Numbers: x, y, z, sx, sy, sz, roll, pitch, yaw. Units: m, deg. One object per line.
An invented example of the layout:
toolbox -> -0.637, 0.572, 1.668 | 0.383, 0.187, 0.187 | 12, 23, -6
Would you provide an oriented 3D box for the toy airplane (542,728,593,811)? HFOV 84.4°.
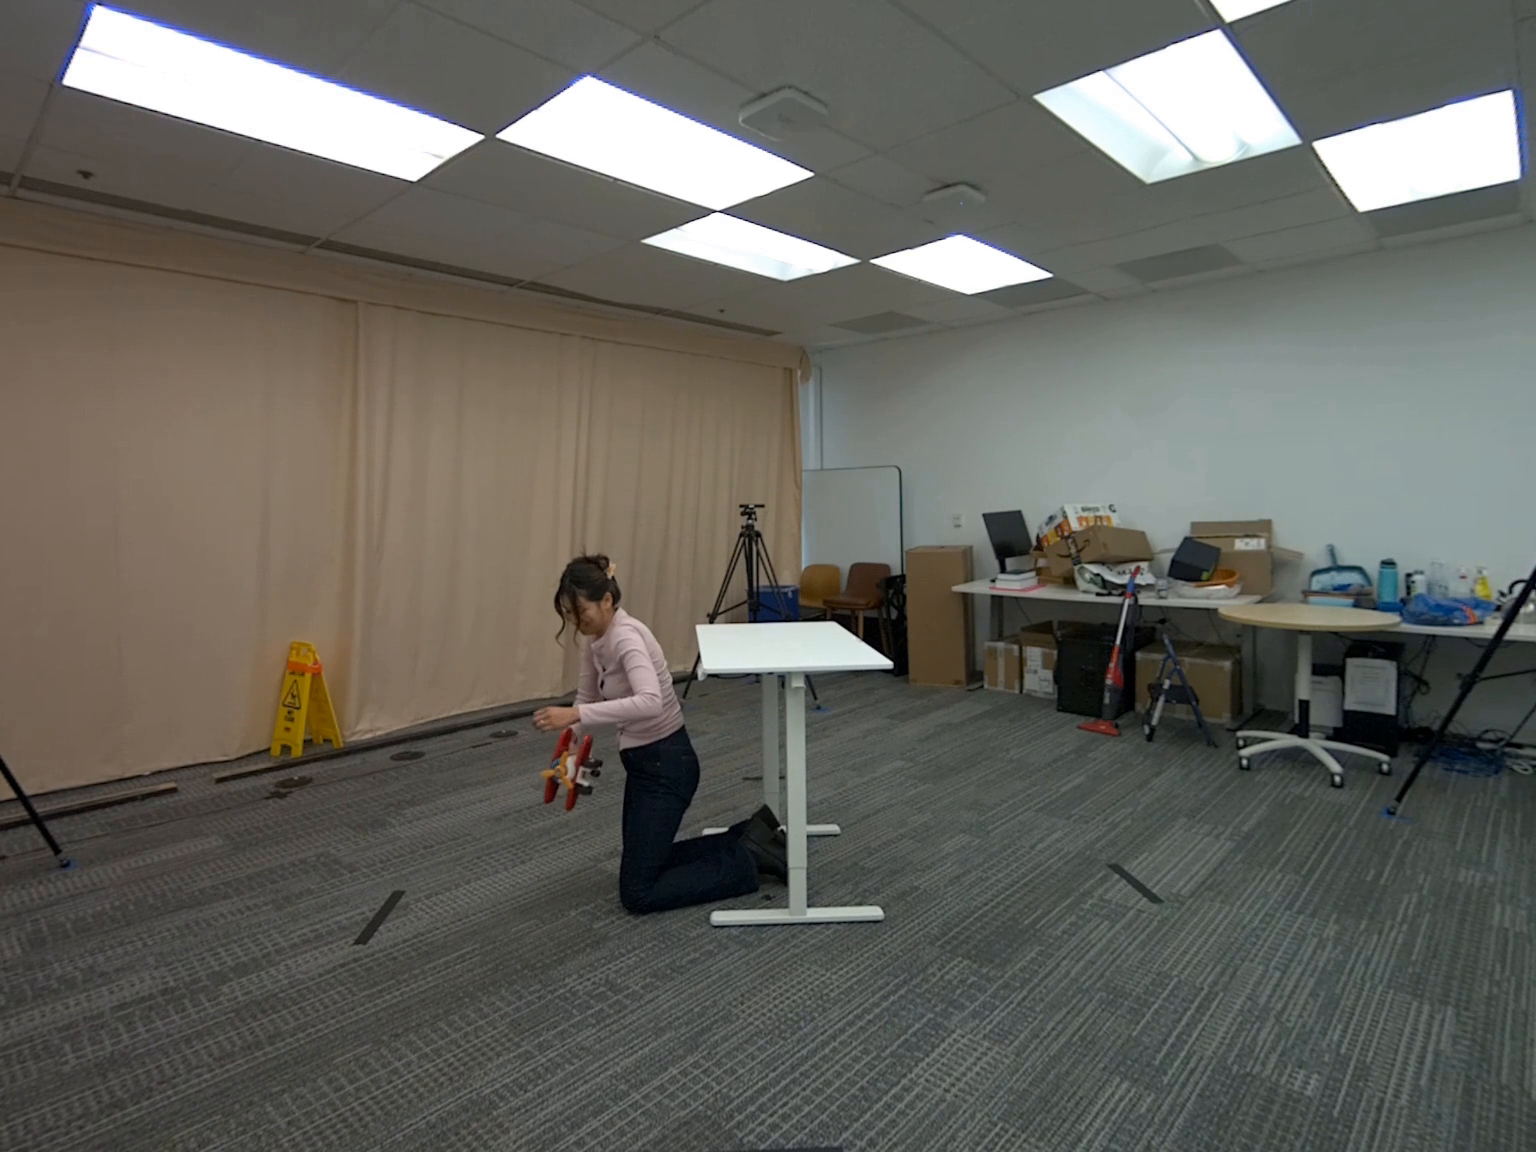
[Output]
toy airplane -> -0.656, 0.674, 2.807 | 0.157, 0.253, 0.256 | 14, -33, 0
